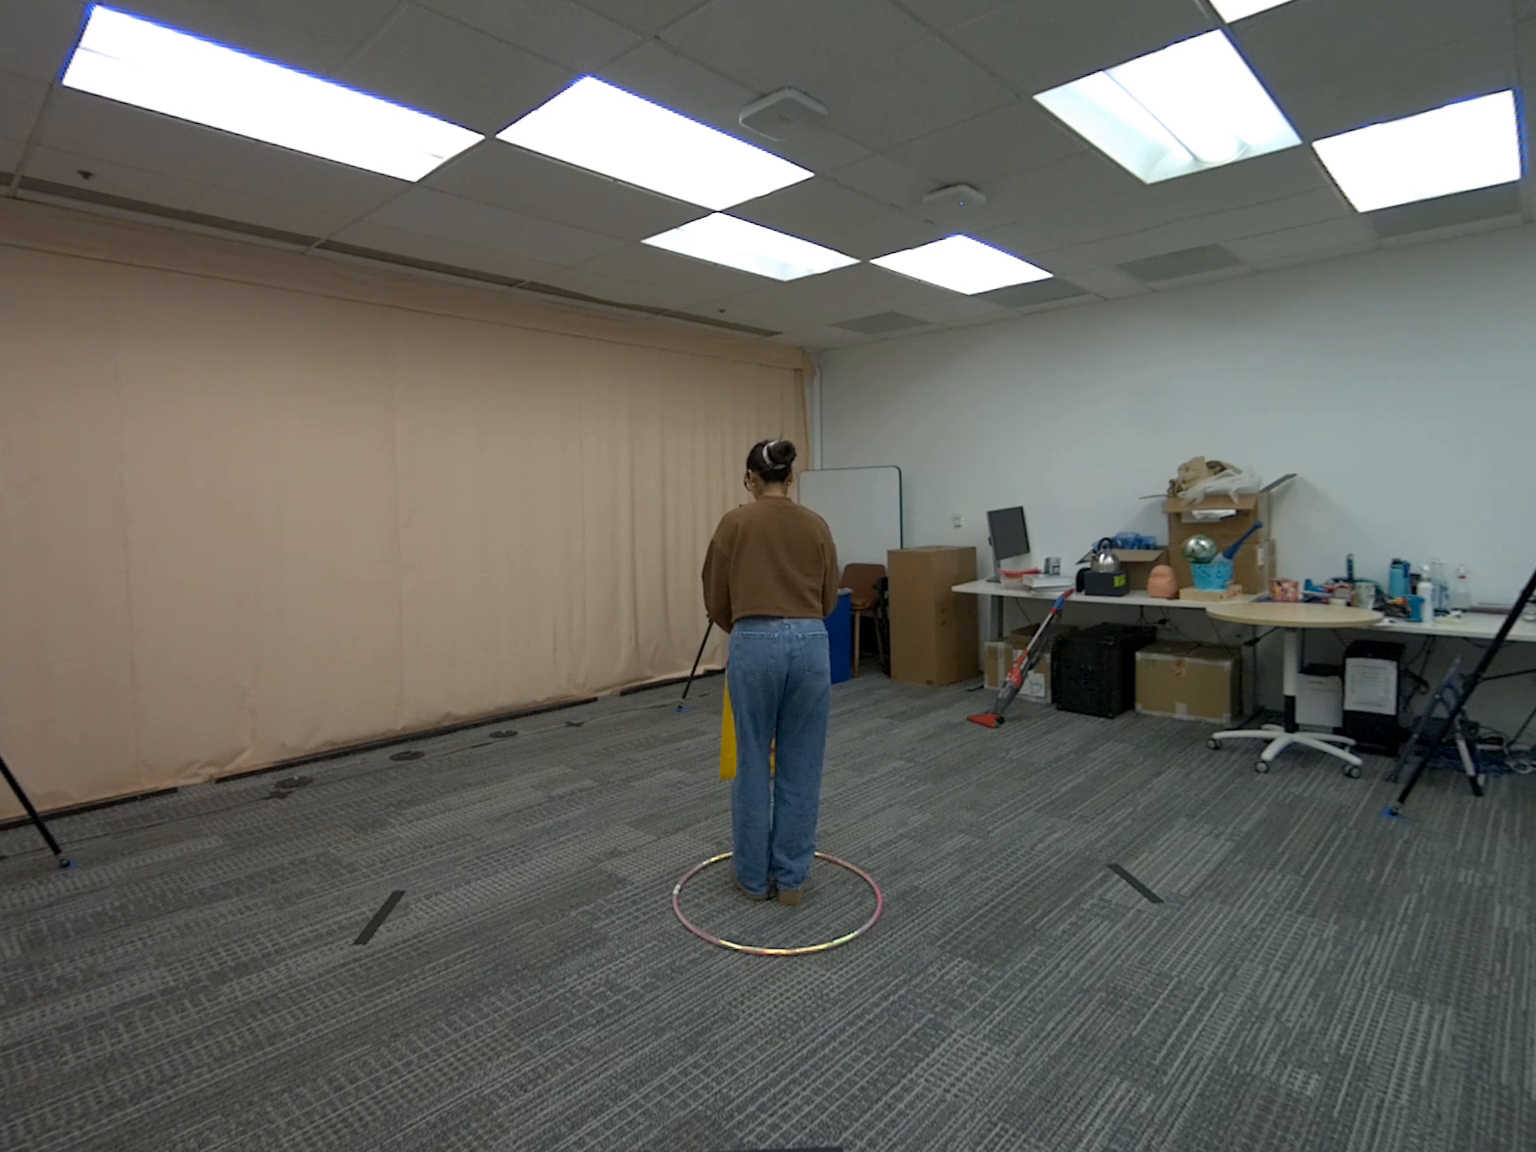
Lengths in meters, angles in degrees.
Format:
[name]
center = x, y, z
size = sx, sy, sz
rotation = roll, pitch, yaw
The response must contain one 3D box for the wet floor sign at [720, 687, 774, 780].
[wet floor sign]
center = -0.029, 0.504, 3.327
size = 0.278, 0.646, 0.294
rotation = 0, 1, -15
